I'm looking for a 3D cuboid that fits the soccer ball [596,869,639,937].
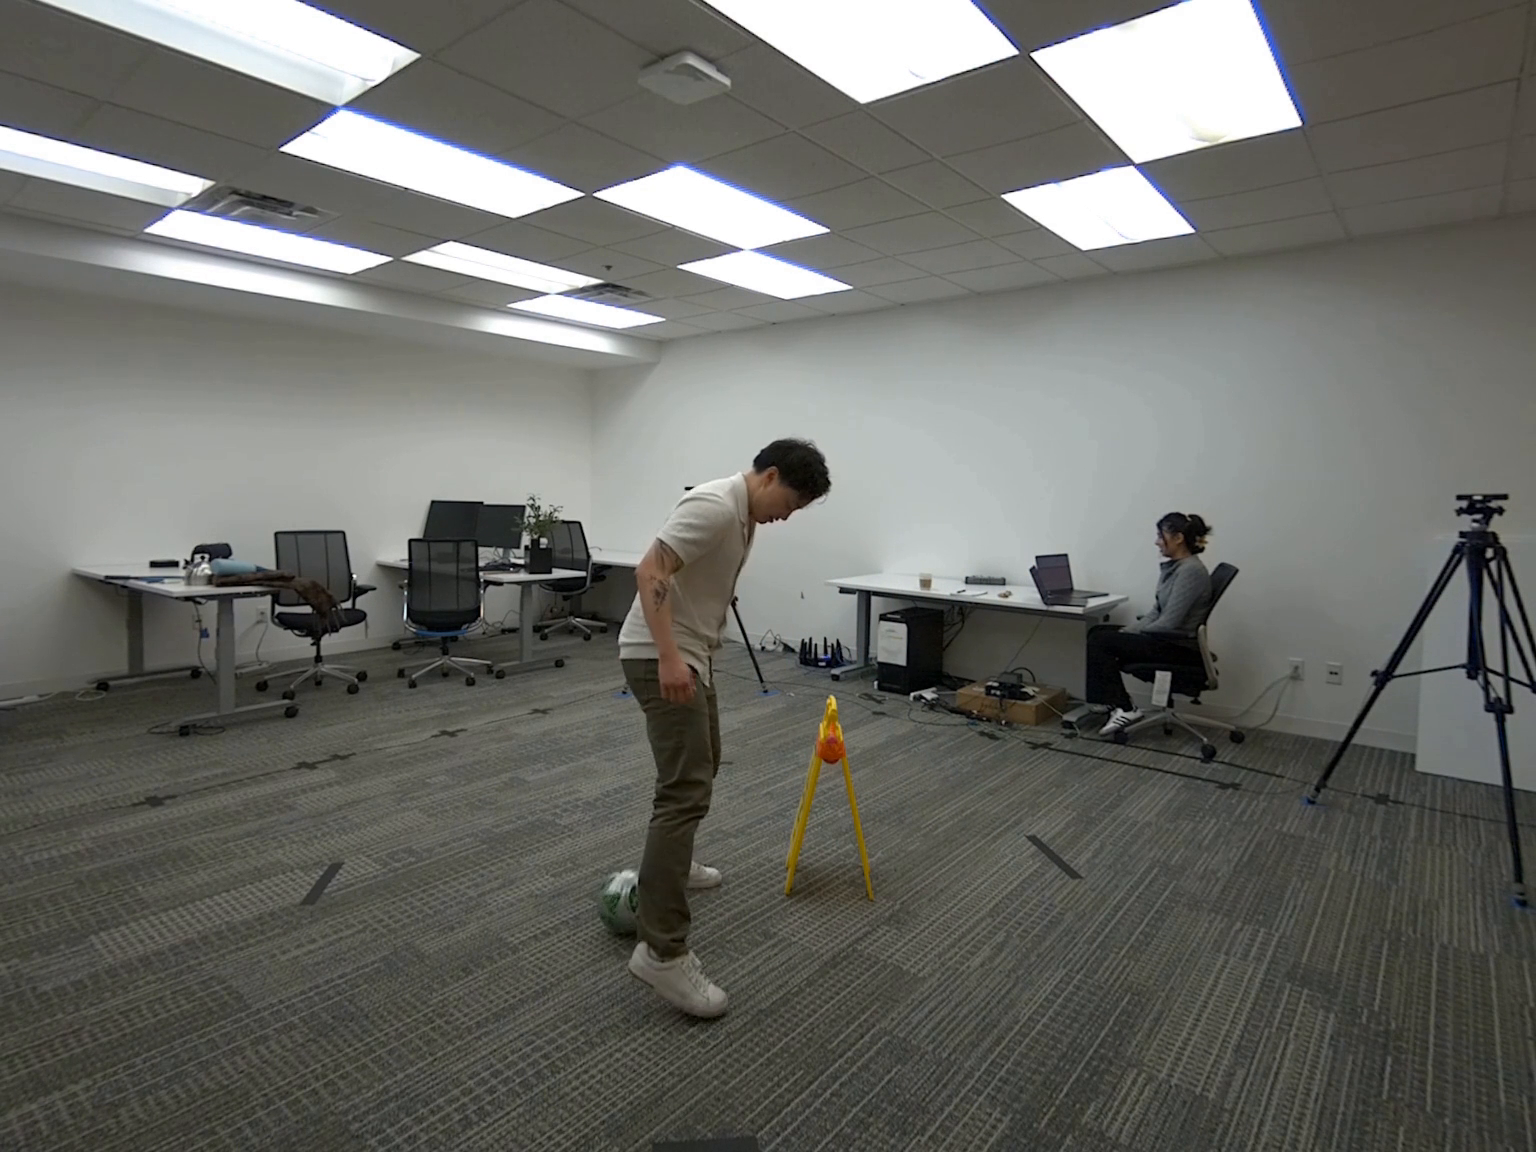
[{"bbox_3d":[-0.450,1.010,2.655,0.187,0.187,0.188,0,4,-2],"label":"soccer ball"}]
